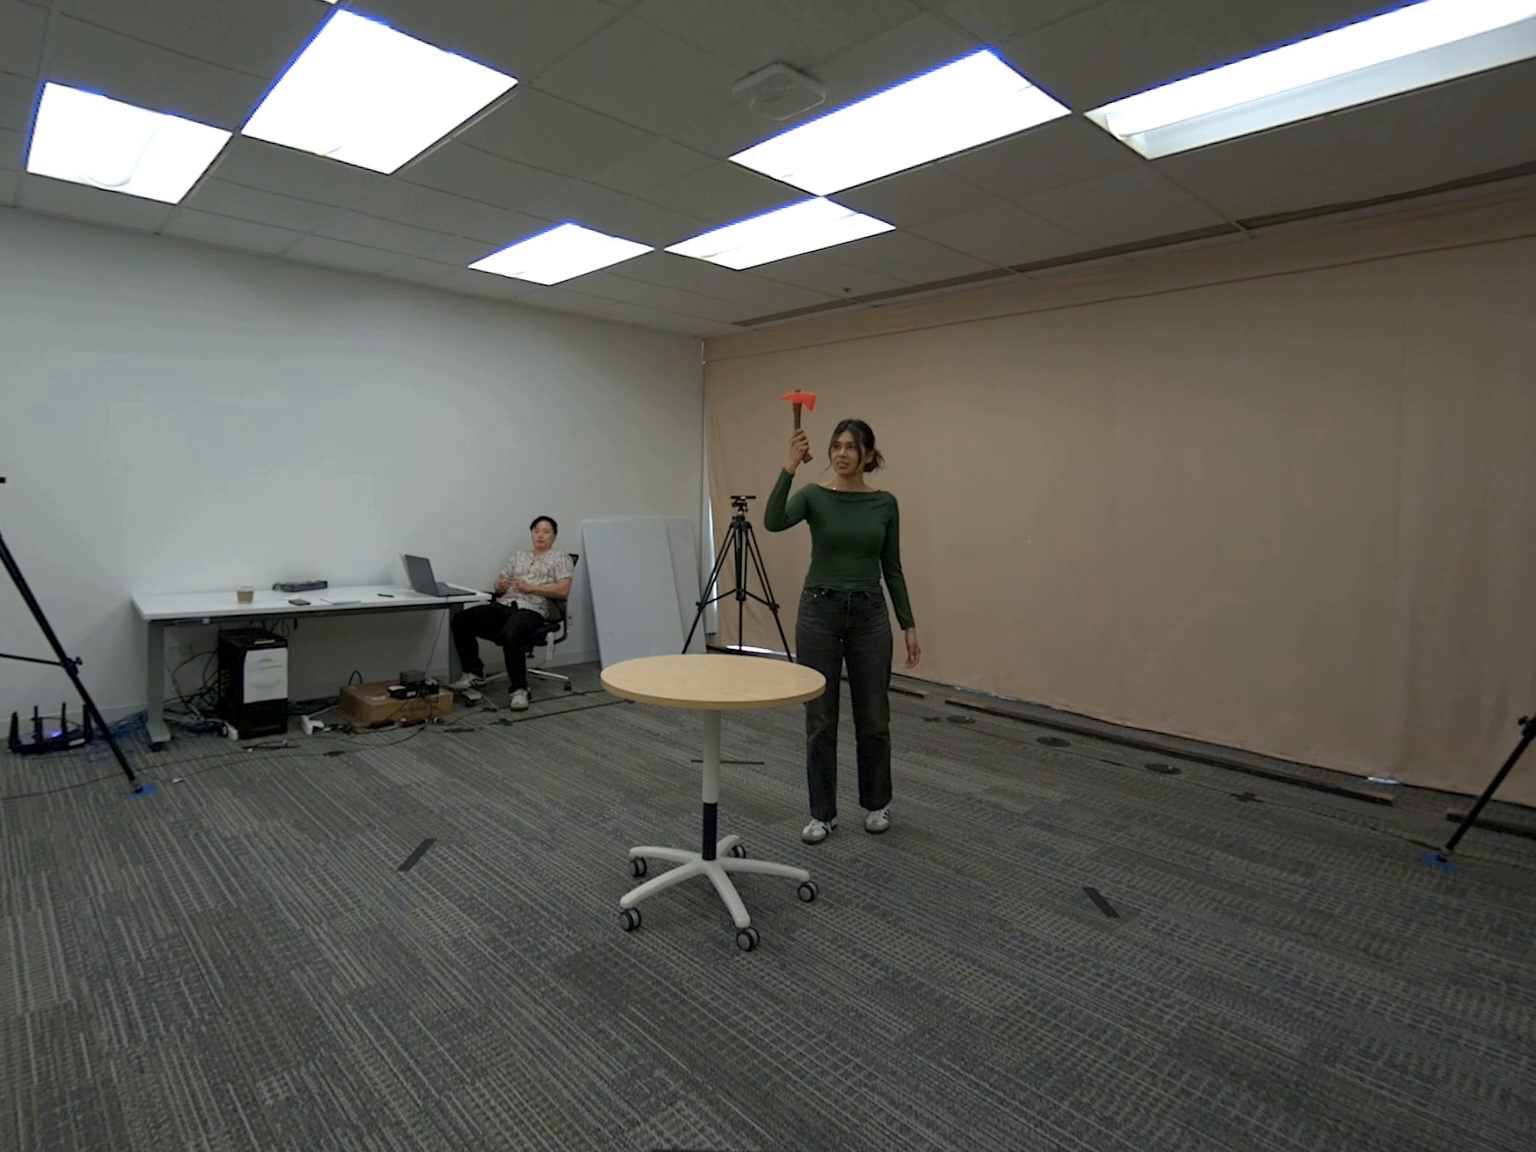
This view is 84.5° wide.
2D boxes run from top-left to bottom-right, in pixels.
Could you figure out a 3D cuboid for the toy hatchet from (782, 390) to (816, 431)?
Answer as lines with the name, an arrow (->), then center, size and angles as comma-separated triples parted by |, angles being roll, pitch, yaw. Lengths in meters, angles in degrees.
toy hatchet -> 0.137, -0.566, 3.134 | 0.132, 0.270, 0.029 | -16, 1, 16
